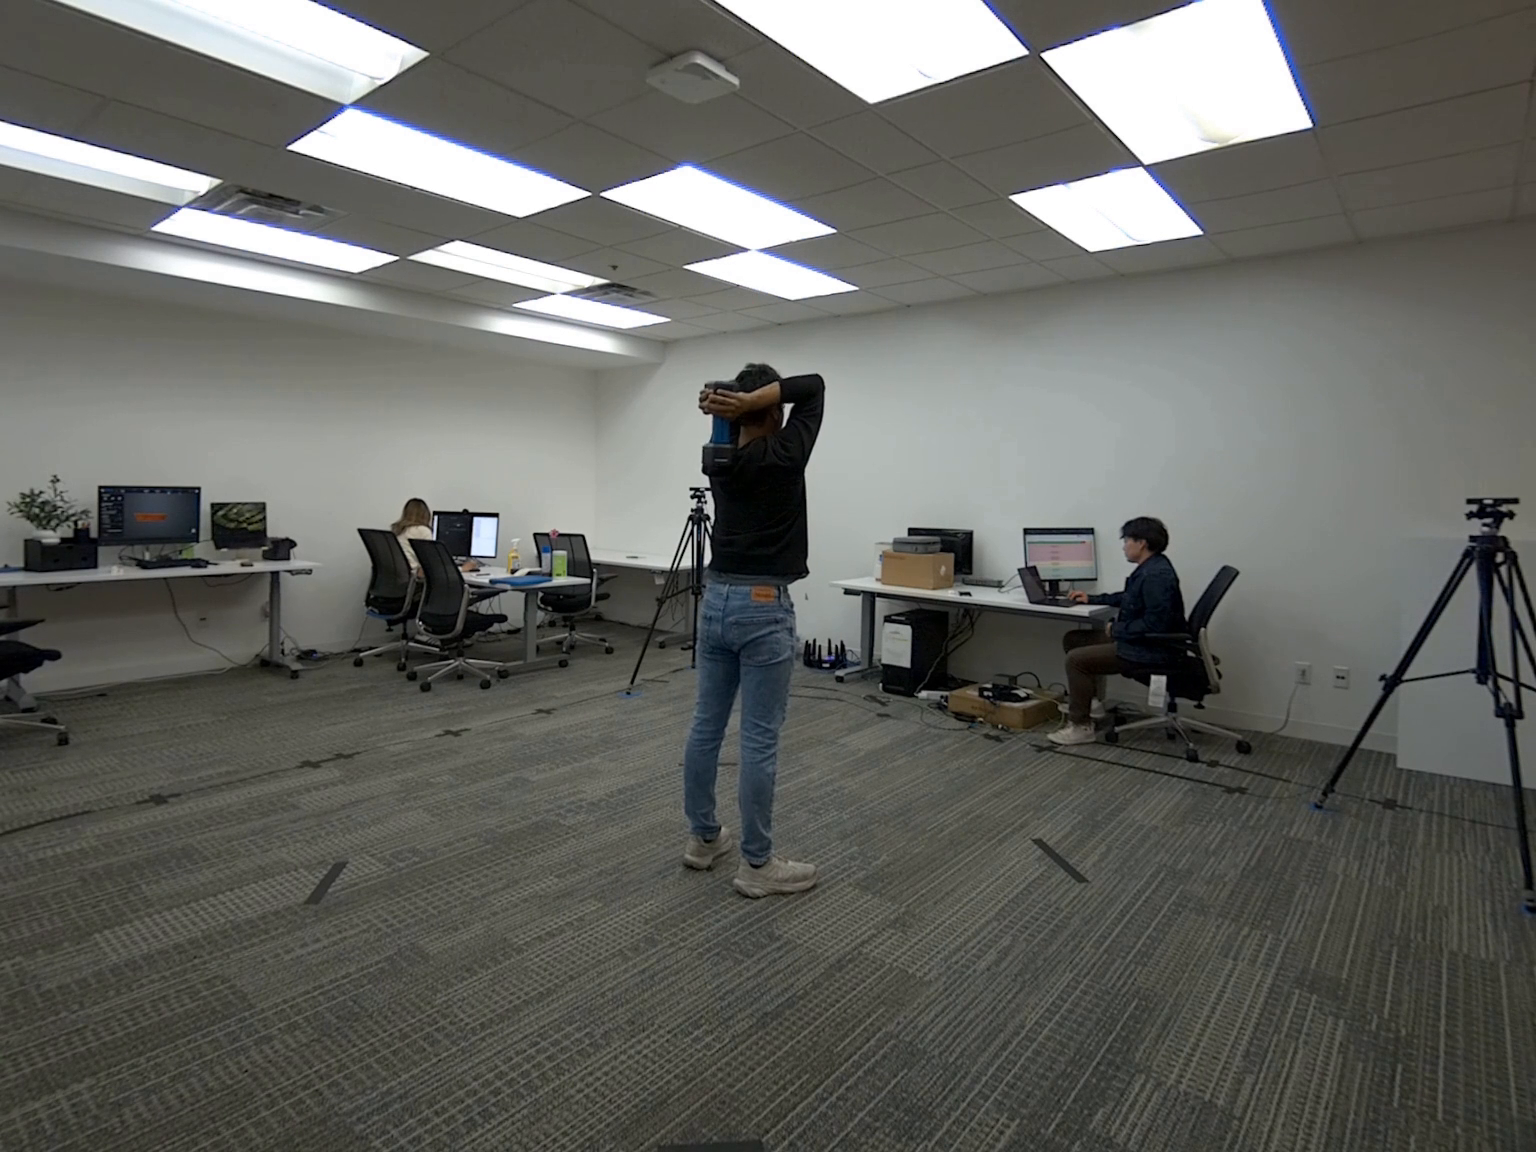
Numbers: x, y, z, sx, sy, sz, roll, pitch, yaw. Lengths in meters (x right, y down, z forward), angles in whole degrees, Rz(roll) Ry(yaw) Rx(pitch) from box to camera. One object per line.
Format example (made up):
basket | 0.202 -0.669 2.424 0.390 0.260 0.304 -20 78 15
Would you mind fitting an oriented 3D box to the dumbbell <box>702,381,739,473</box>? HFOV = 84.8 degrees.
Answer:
dumbbell | -0.169 -0.541 2.939 0.127 0.293 0.105 7 4 42
